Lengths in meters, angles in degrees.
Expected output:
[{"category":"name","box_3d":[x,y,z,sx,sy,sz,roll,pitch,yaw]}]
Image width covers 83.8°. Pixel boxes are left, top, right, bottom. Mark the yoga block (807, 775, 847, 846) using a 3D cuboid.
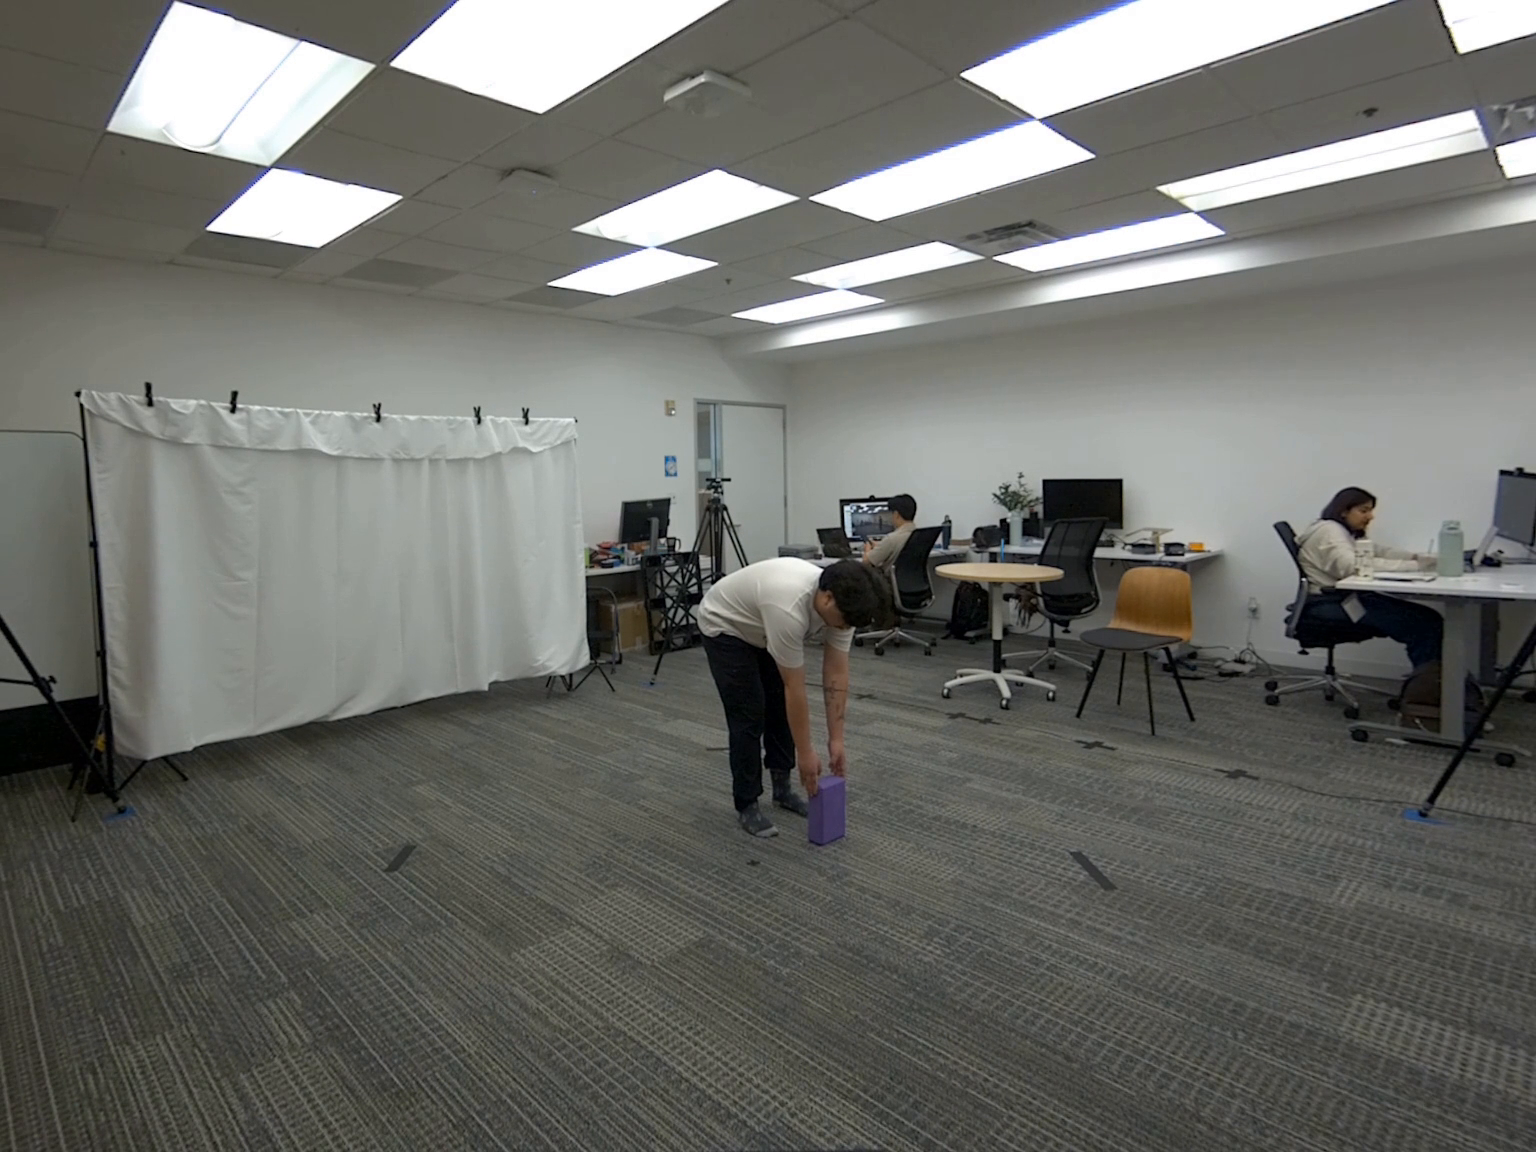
[{"category":"yoga block","box_3d":[0.231,0.905,3.302,0.079,0.229,0.145,1,2,45]}]
